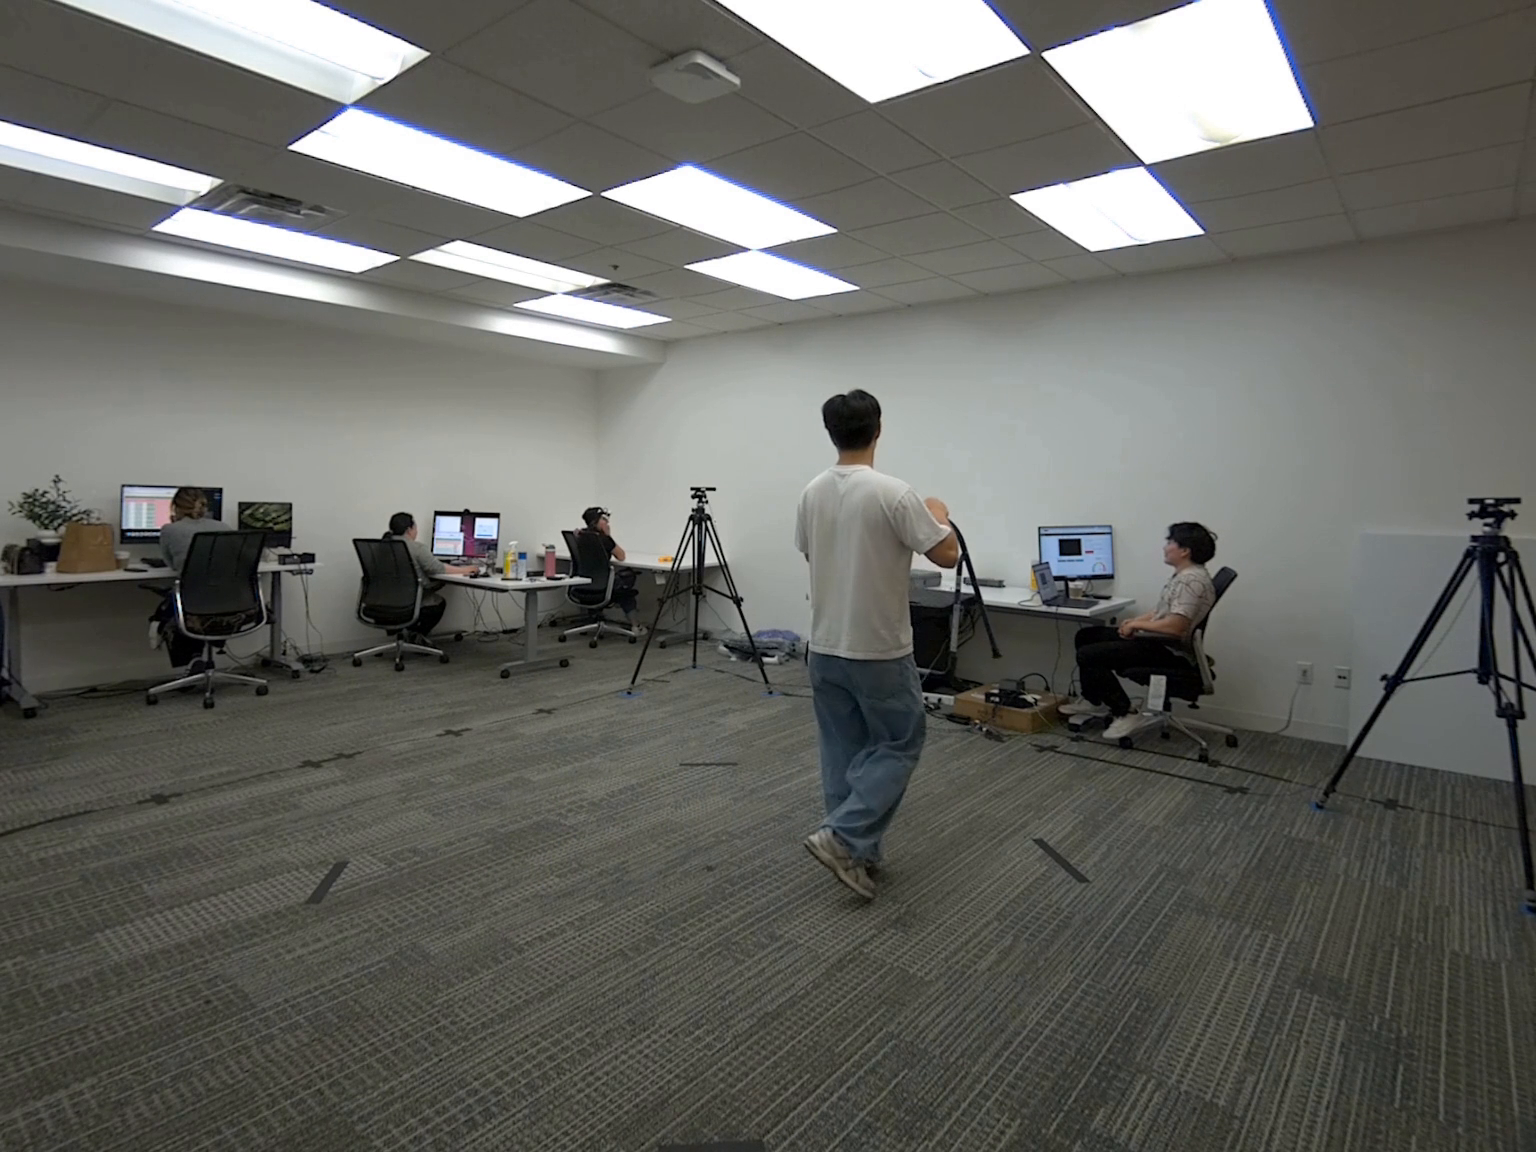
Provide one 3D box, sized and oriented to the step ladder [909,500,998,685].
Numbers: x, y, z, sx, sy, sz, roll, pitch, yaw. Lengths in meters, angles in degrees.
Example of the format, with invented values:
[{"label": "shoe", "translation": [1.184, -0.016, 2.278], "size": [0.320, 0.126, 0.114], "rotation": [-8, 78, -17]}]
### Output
[{"label": "step ladder", "translation": [0.573, 0.034, 3.213], "size": [0.445, 0.600, 0.341], "rotation": [3, 13, 45]}]
